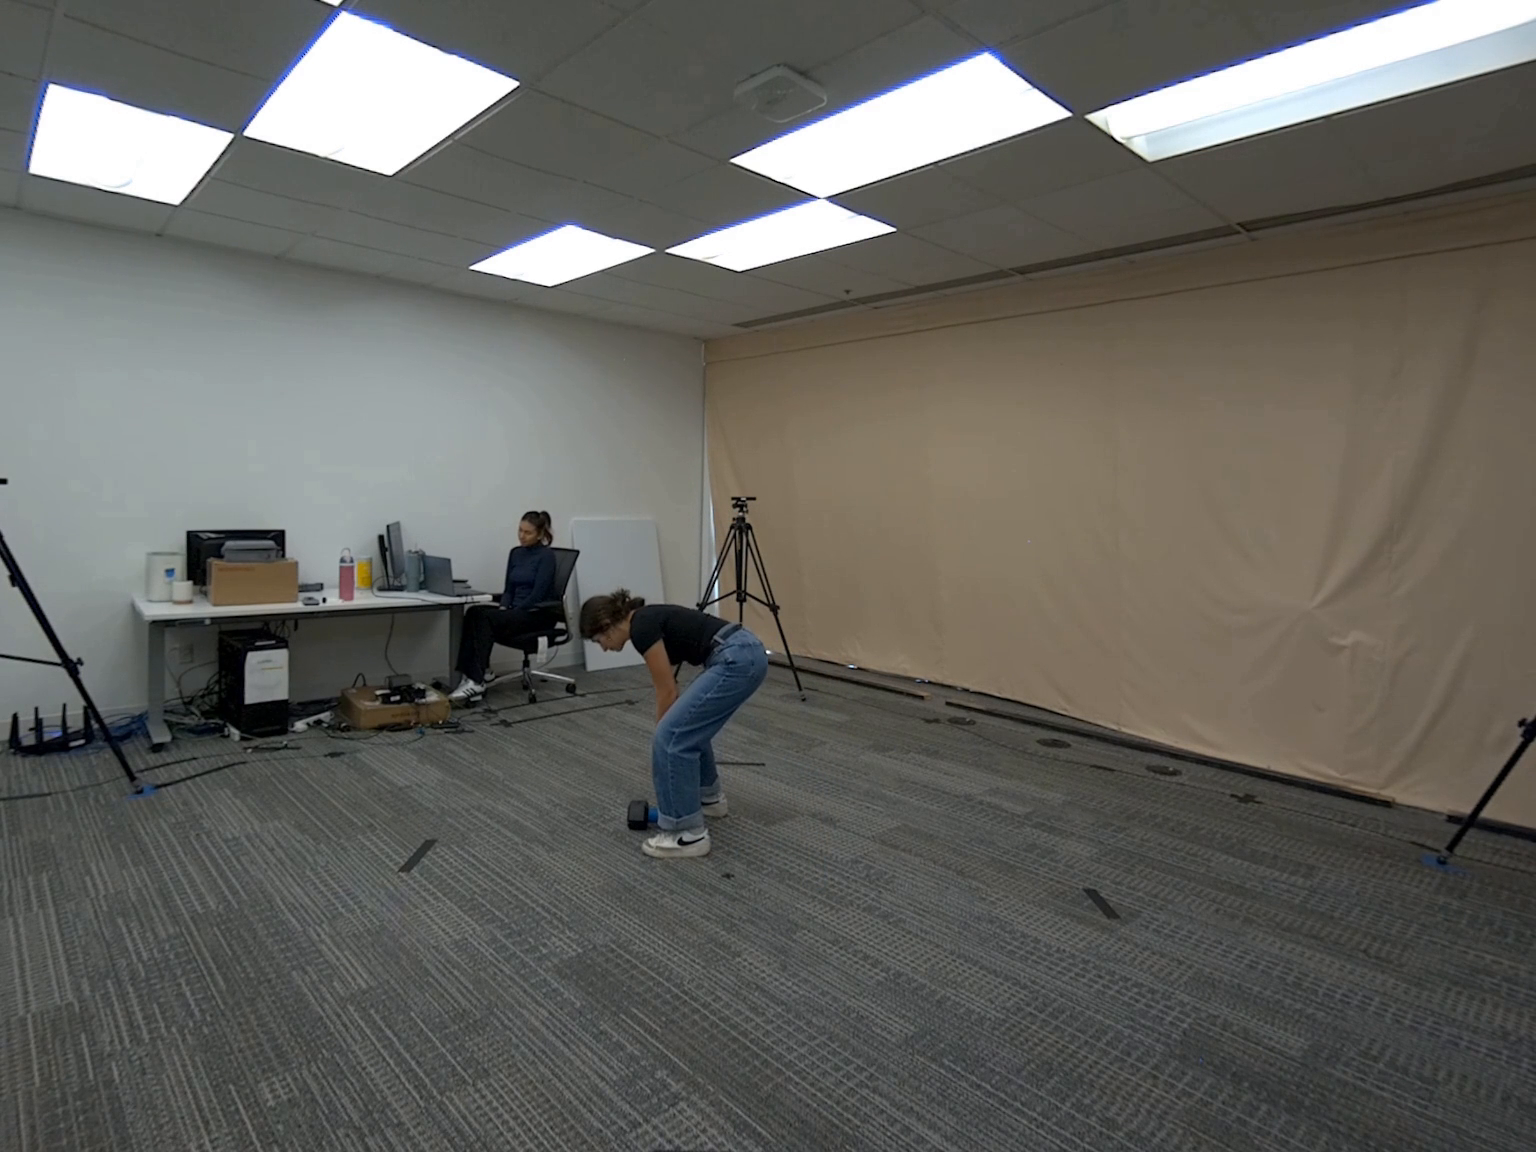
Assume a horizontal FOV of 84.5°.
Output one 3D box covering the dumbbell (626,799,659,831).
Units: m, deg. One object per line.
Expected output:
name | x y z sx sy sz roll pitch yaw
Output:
dumbbell | -0.450 1.008 3.531 0.294 0.120 0.110 2 34 3
